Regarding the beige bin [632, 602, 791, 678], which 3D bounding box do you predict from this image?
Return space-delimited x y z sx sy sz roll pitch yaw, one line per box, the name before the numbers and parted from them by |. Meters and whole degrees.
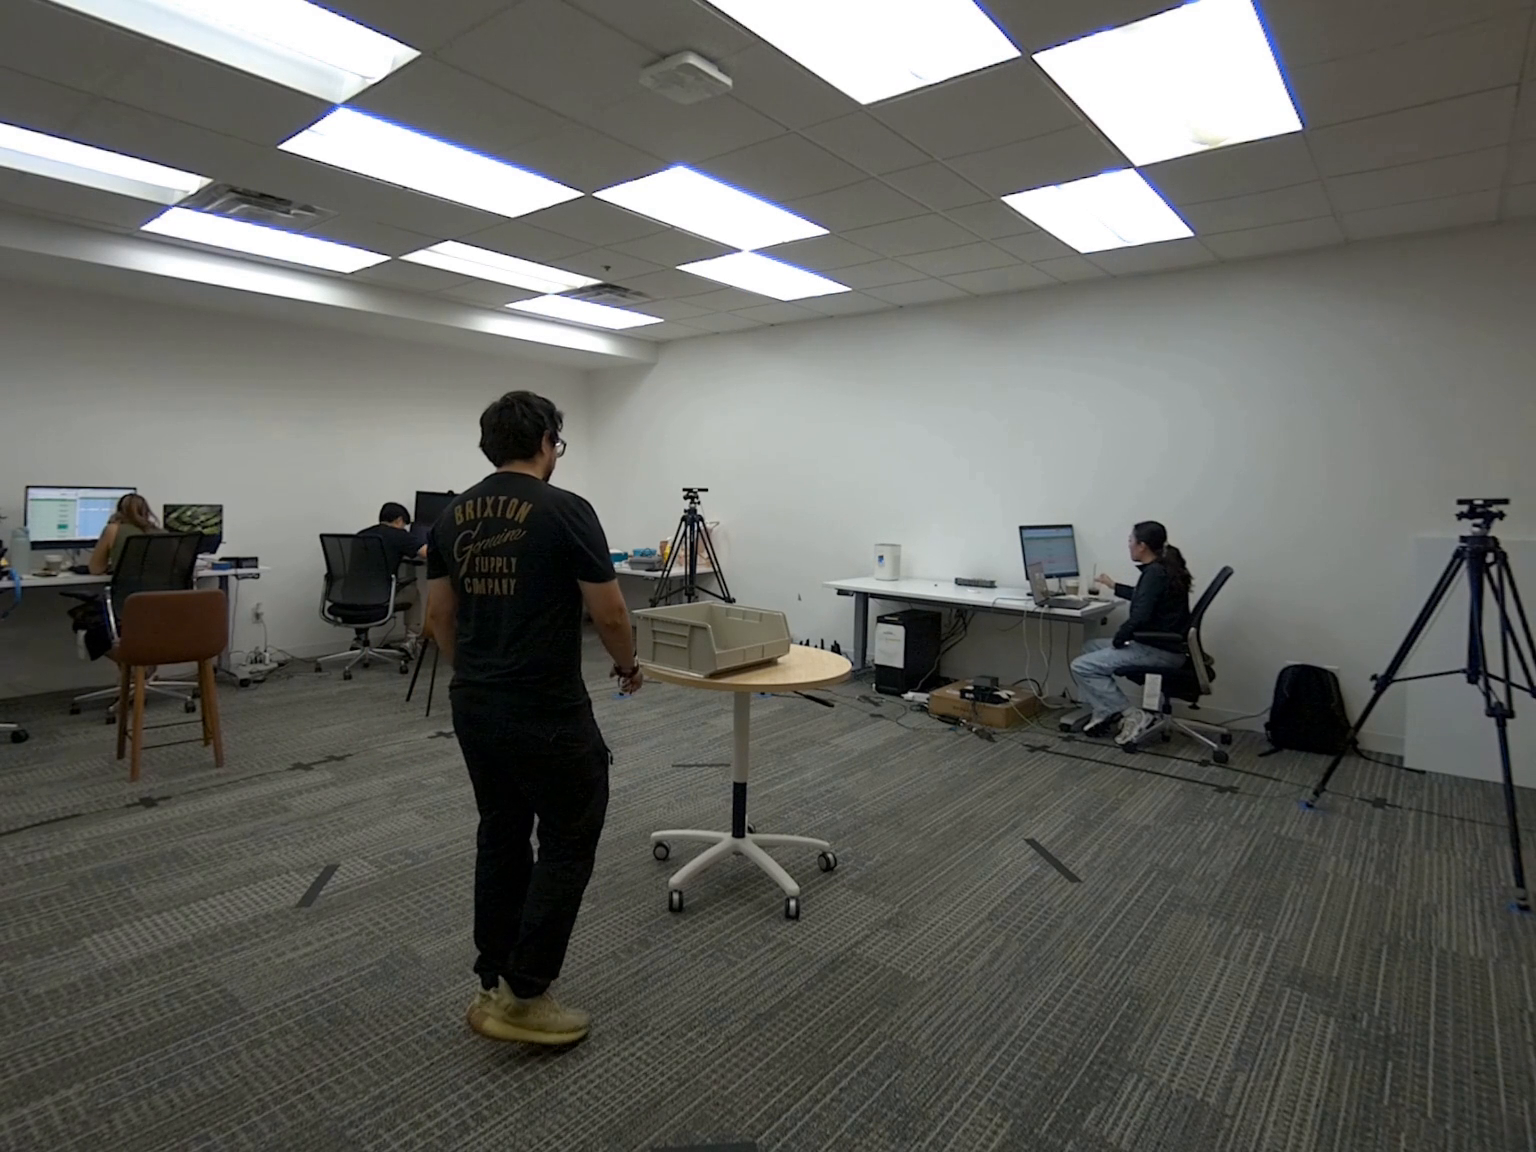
beige bin | -0.198 0.213 2.942 0.390 0.188 0.410 4 6 38
